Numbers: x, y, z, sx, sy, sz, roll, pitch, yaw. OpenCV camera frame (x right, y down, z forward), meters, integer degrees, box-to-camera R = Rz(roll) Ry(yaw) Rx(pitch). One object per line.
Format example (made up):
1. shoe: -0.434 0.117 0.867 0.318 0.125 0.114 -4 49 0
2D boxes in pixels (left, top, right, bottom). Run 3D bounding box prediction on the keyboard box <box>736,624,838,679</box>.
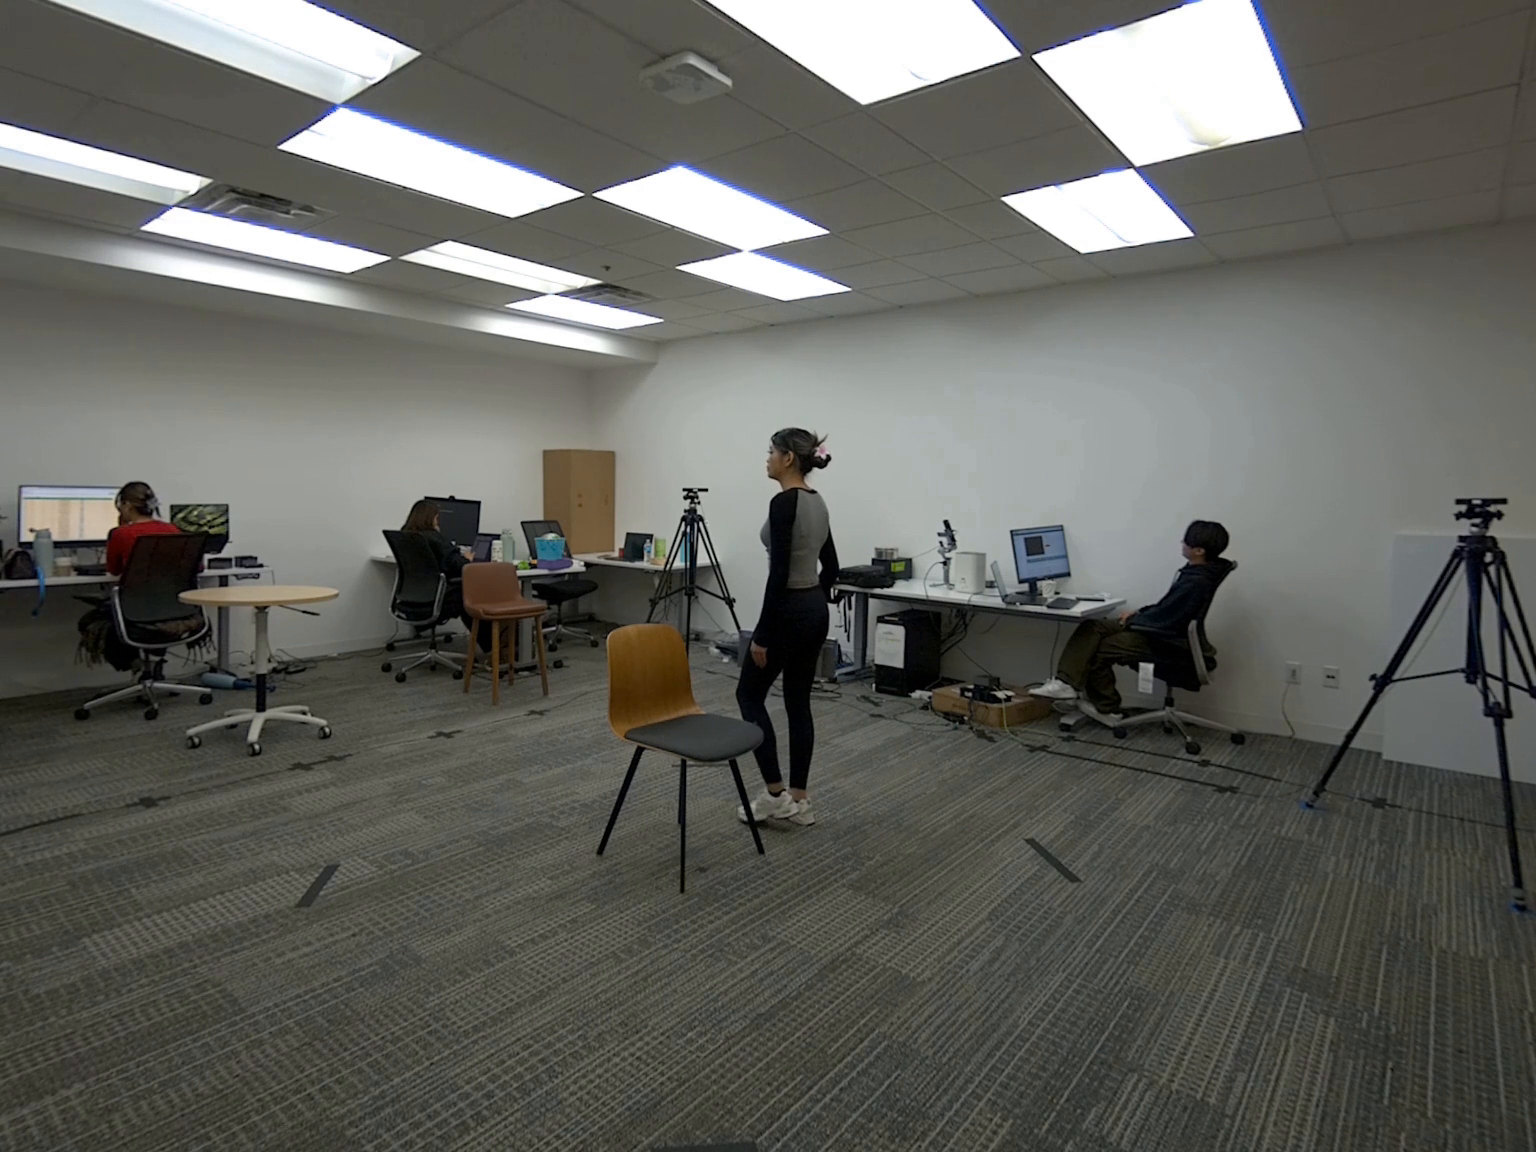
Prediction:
1. keyboard box: 0.079 0.336 3.784 0.445 0.175 0.058 6 5 15
